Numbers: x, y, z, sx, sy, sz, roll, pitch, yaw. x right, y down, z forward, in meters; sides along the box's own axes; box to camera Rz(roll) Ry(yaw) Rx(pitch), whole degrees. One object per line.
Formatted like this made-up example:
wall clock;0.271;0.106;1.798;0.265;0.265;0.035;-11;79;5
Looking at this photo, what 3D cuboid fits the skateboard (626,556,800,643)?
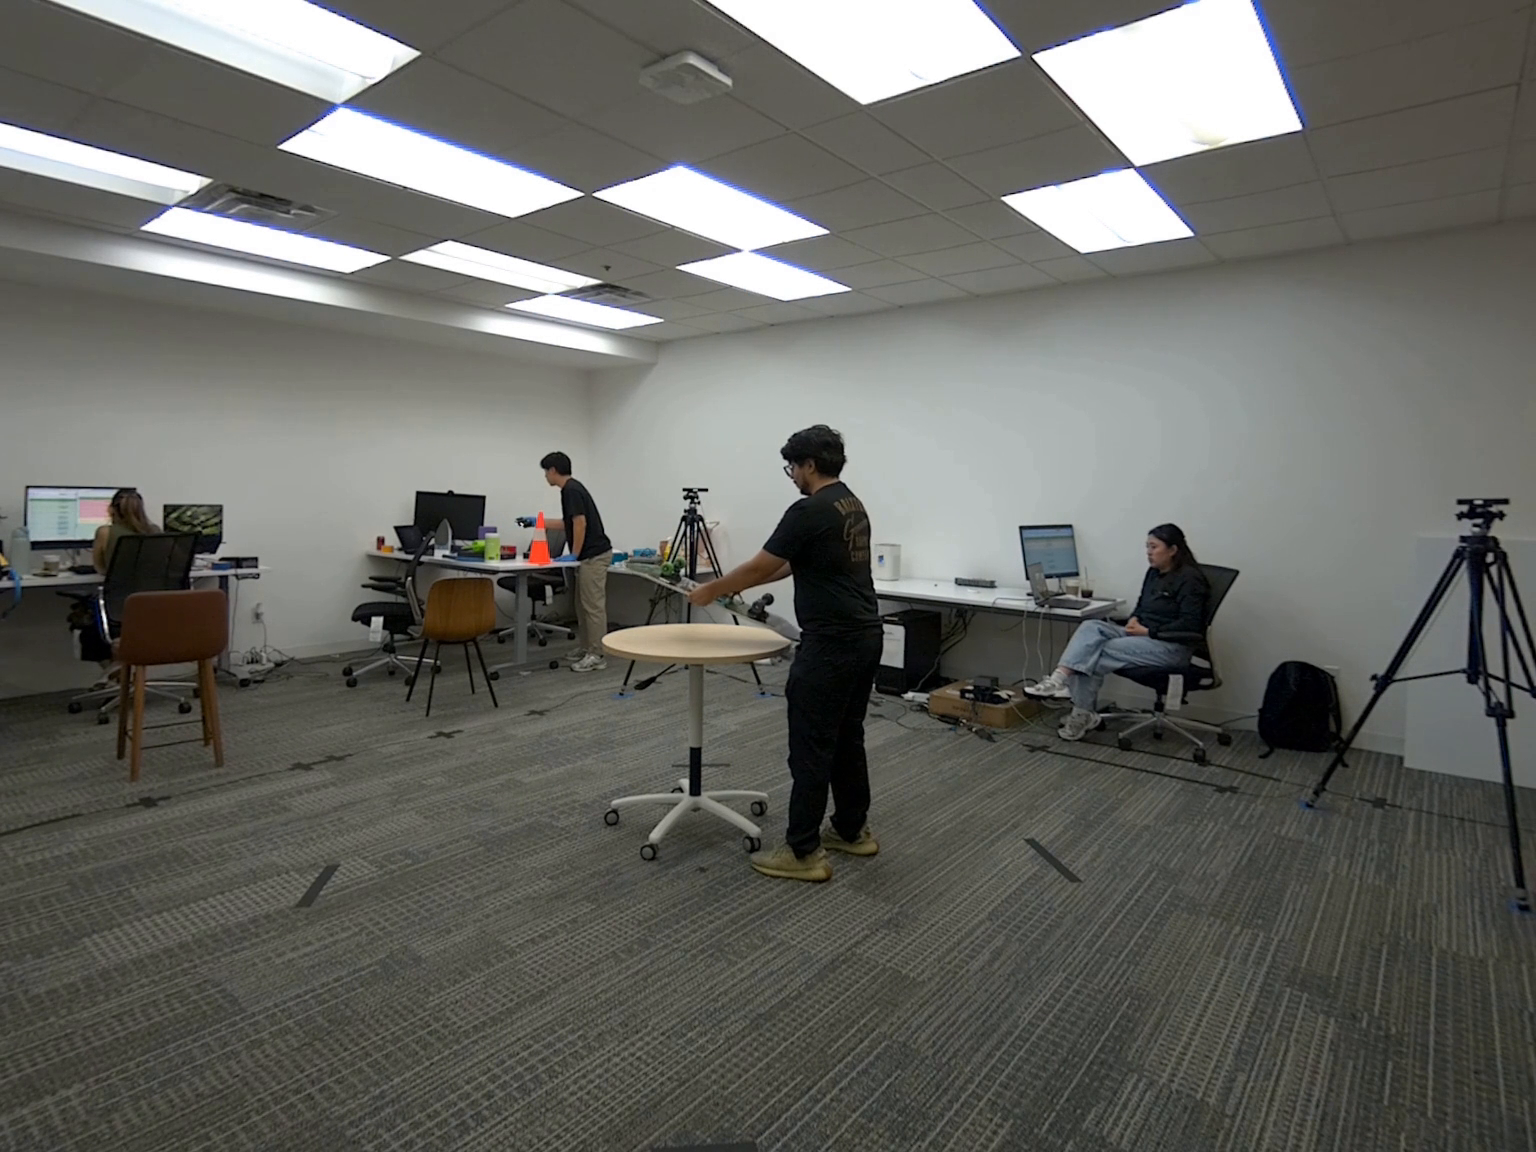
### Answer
skateboard;-0.206;0.066;3.426;0.802;0.109;0.191;23;14;15
